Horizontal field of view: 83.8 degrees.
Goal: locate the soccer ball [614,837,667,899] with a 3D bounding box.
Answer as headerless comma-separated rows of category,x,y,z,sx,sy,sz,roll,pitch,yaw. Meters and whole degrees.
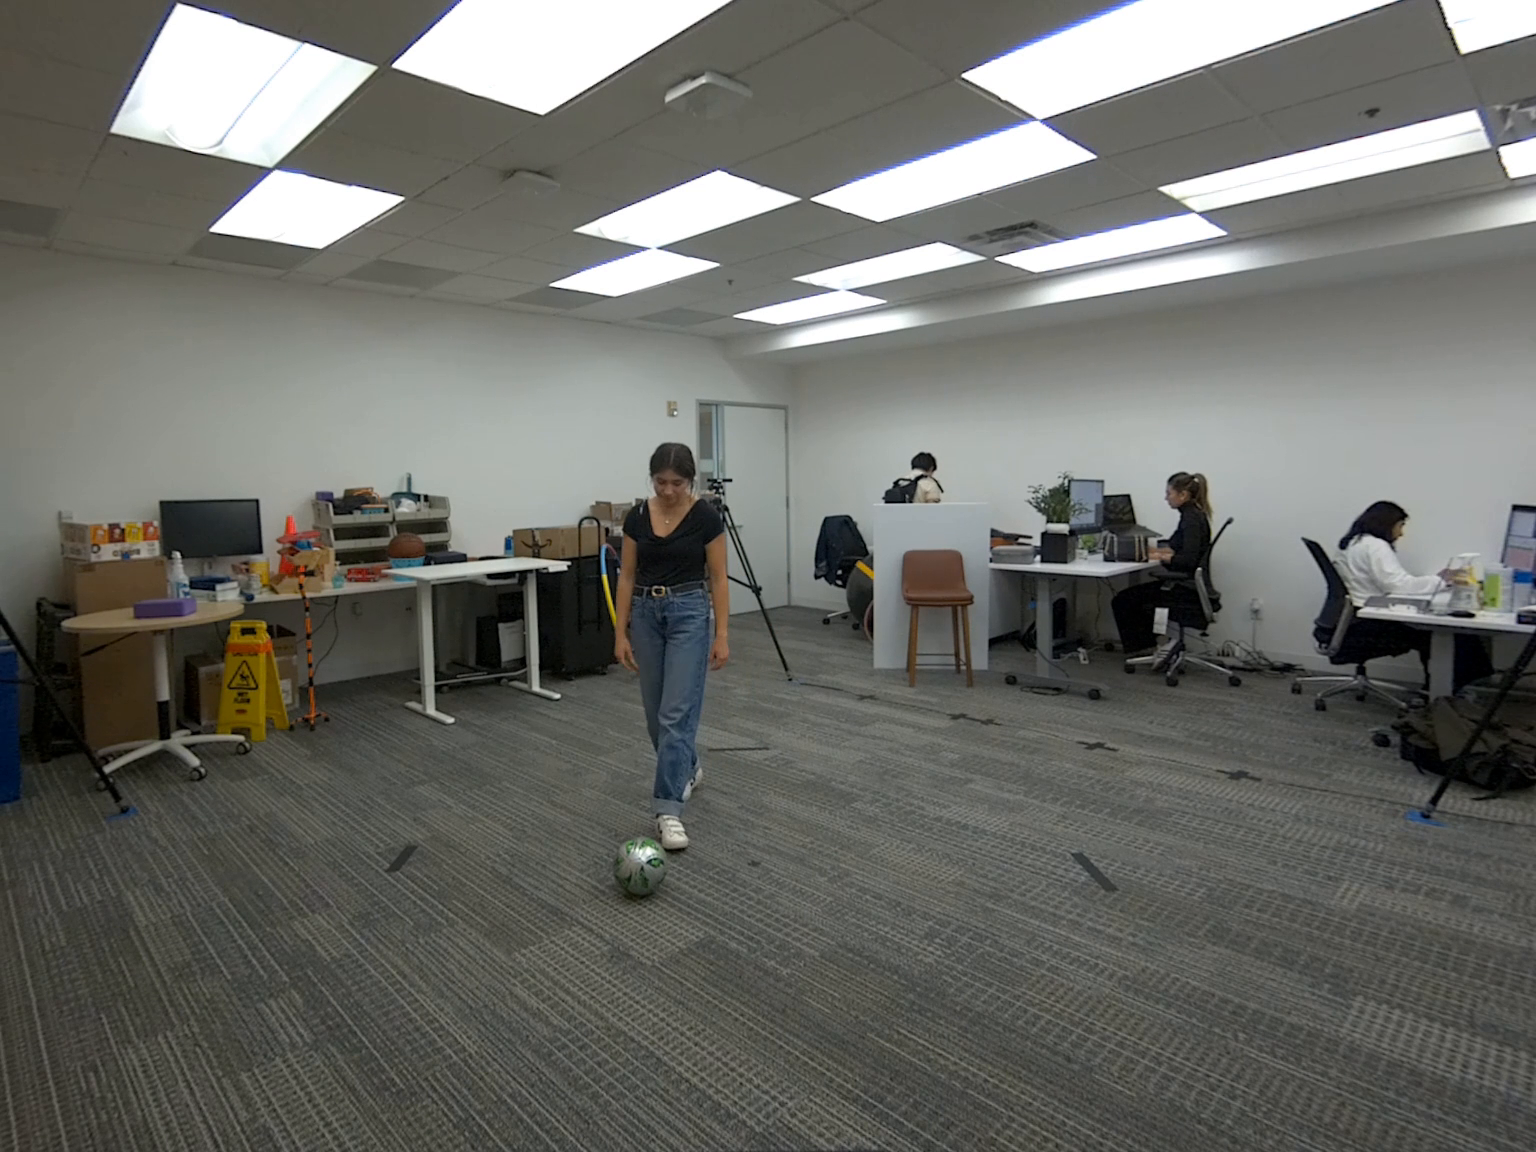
soccer ball,-0.429,0.989,2.902,0.187,0.187,0.188,-1,5,-2
